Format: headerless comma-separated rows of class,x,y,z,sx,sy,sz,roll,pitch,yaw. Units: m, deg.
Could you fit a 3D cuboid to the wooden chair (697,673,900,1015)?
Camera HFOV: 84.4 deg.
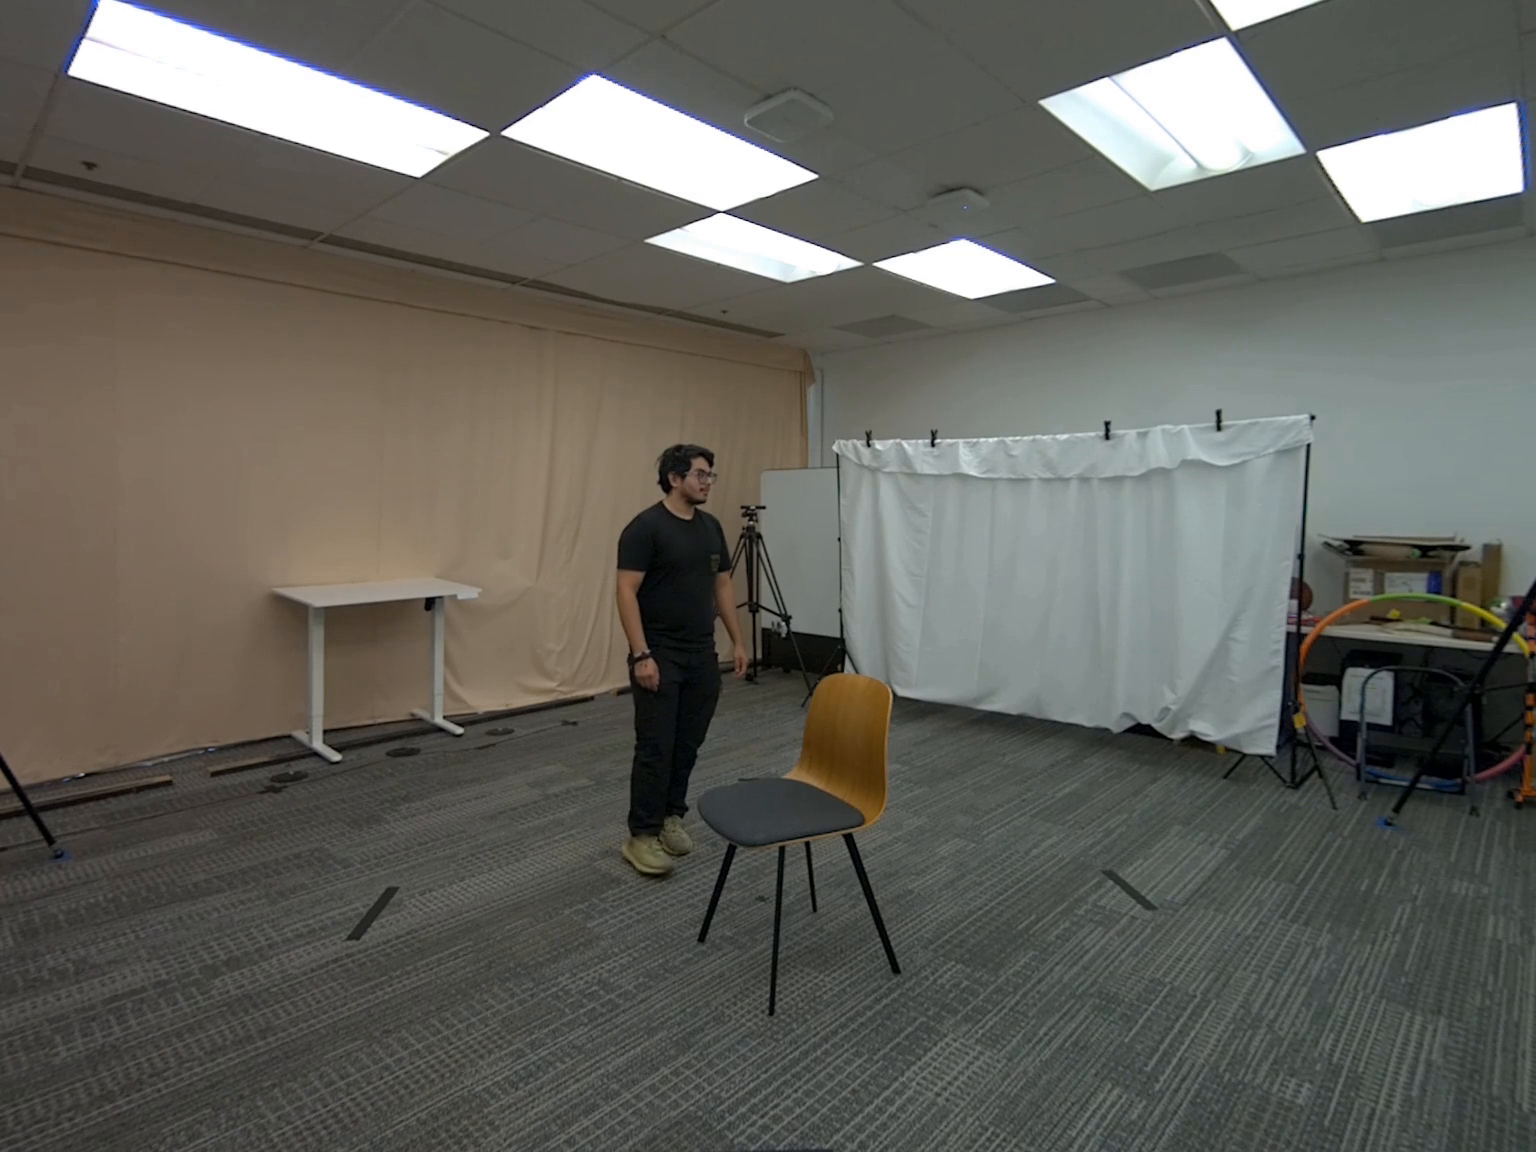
wooden chair,0.084,0.752,2.564,0.509,0.876,0.492,3,2,-30
